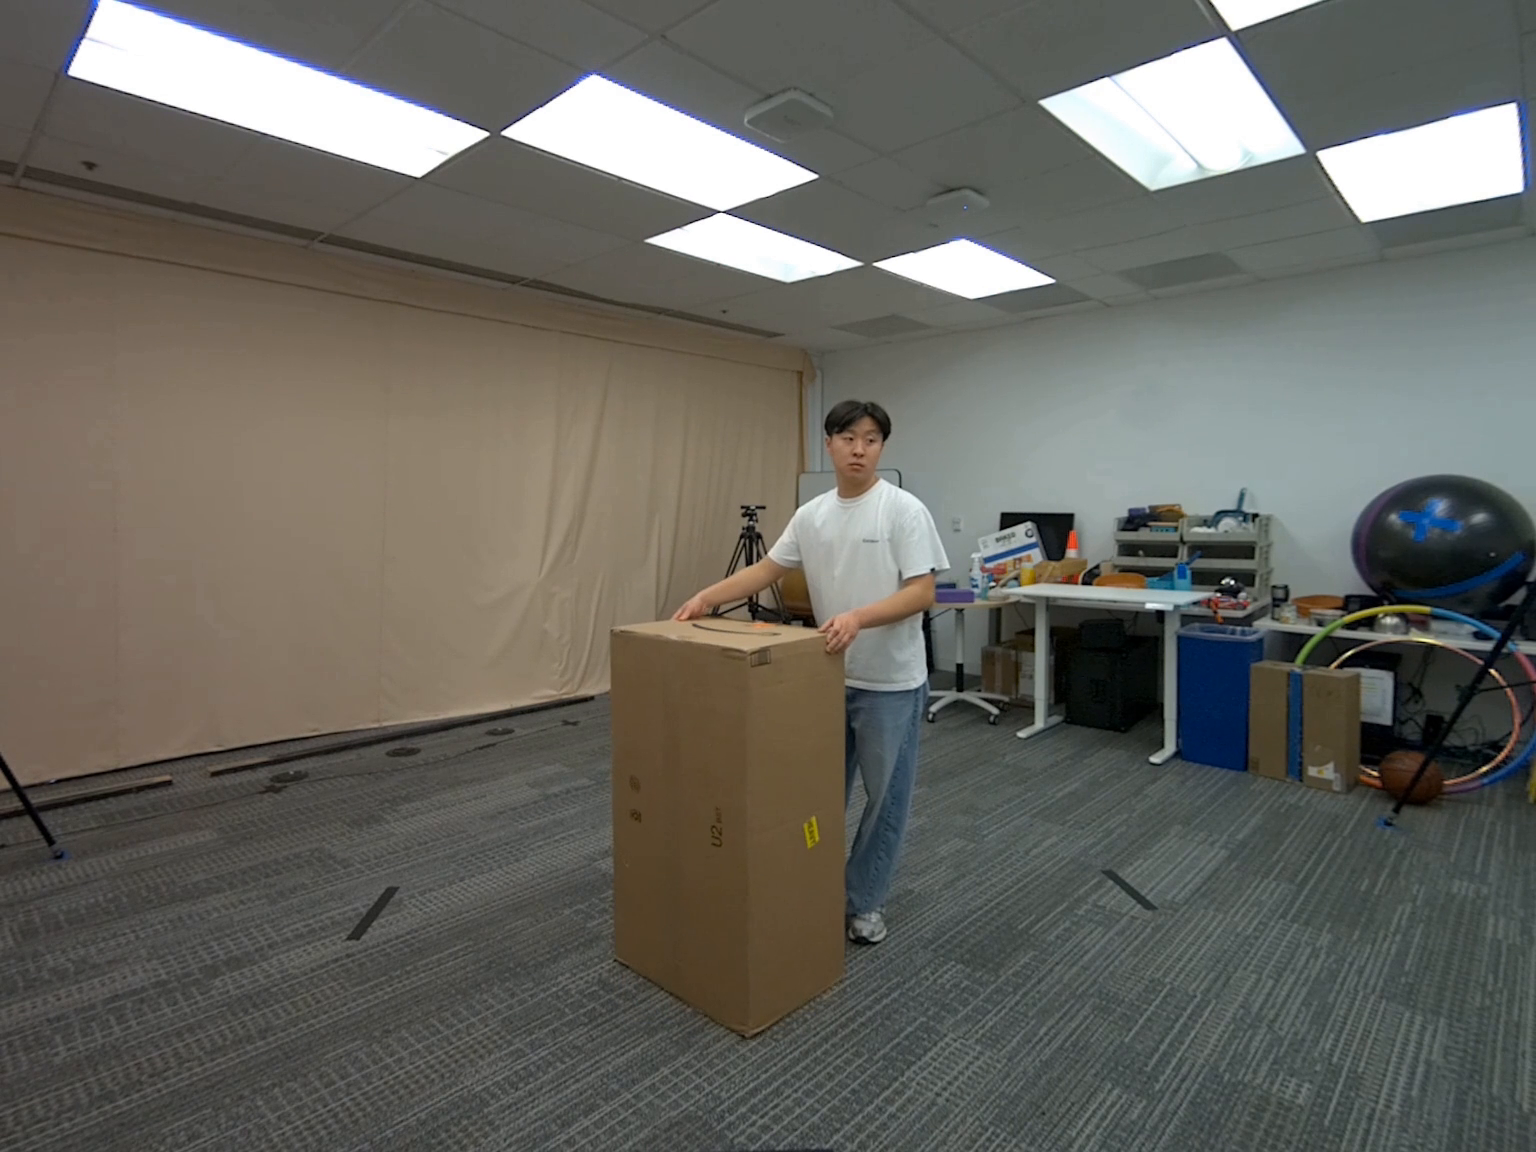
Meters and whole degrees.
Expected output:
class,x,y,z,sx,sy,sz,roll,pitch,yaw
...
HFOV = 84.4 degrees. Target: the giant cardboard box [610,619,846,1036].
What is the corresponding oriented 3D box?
class,x,y,z,sx,sy,sz,roll,pitch,yaw
giant cardboard box,-0.128,0.673,2.518,0.597,1.024,0.413,2,3,43
